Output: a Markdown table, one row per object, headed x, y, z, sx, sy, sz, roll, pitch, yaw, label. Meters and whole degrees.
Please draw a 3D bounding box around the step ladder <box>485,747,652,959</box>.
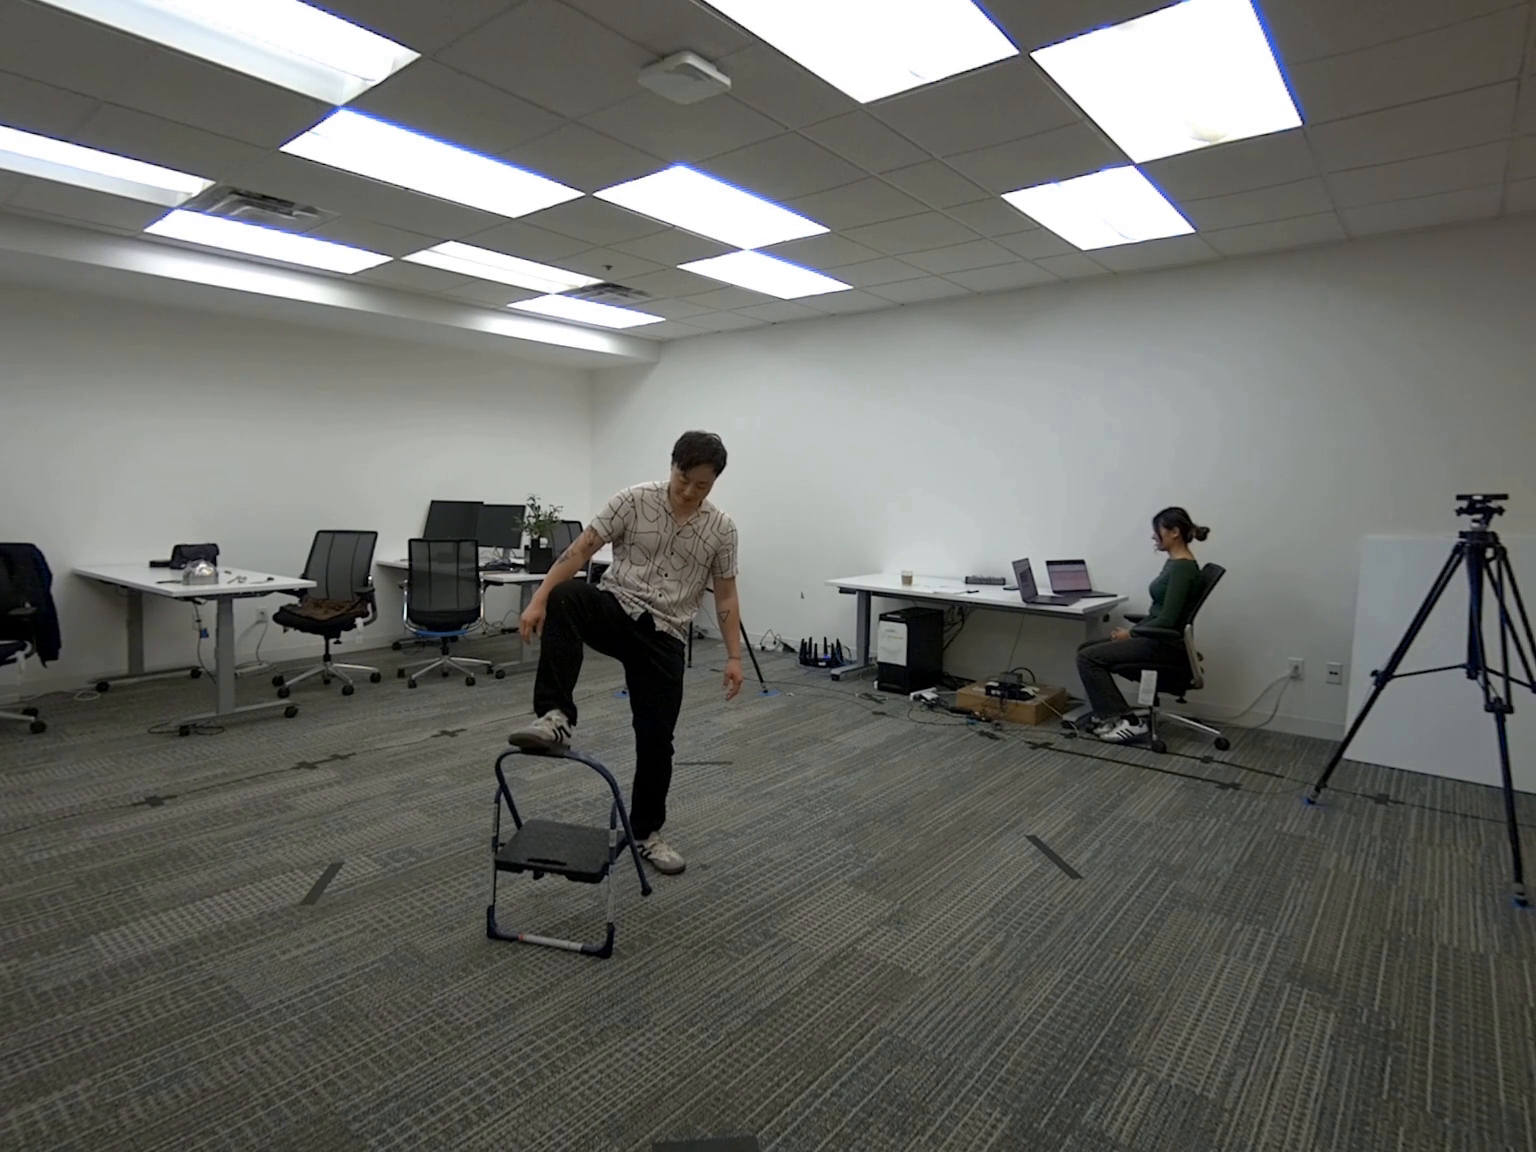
| x | y | z | sx | sy | sz | roll | pitch | yaw | label |
| --- | --- | --- | --- | --- | --- | --- | --- | --- | --- |
| -0.647 | 0.783 | 2.654 | 0.437 | 0.599 | 0.348 | 1 | 13 | 14 | step ladder |
